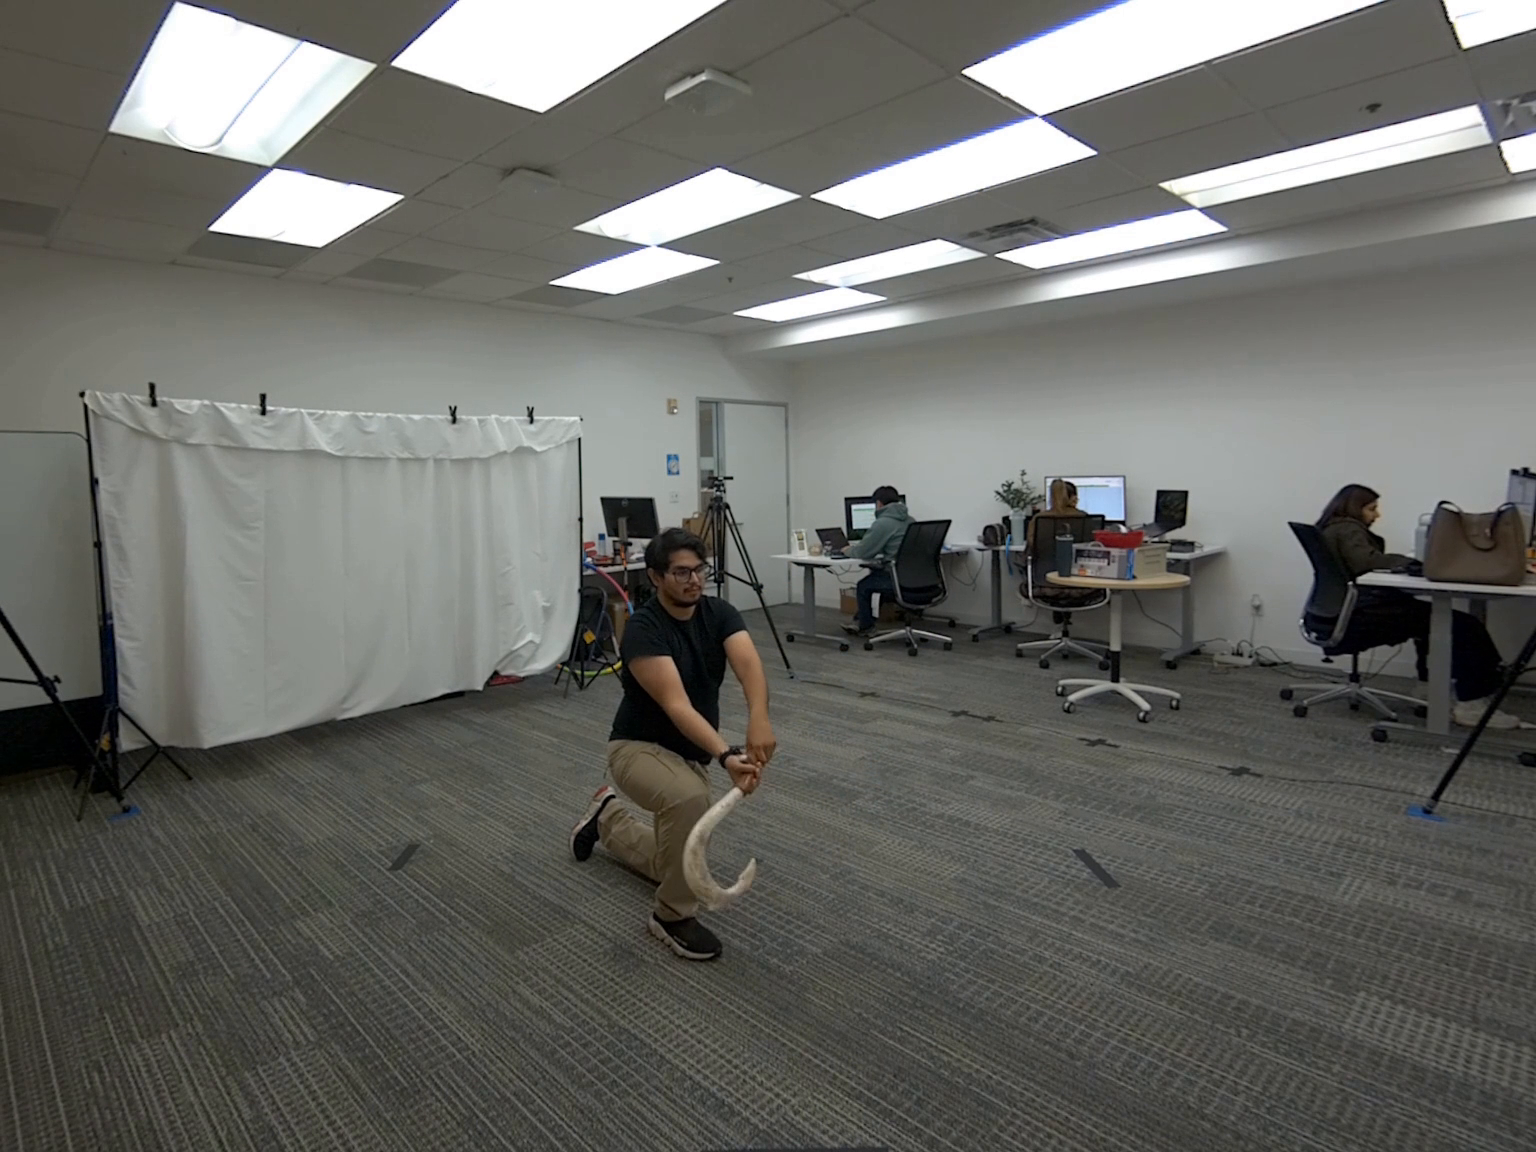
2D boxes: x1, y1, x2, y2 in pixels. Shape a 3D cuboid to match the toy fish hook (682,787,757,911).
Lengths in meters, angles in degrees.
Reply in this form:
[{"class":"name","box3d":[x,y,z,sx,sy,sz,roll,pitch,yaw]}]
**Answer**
[{"class":"toy fish hook","box3d":[-0.076,0.647,2.300,0.049,0.220,0.509,-21,23,37]}]
